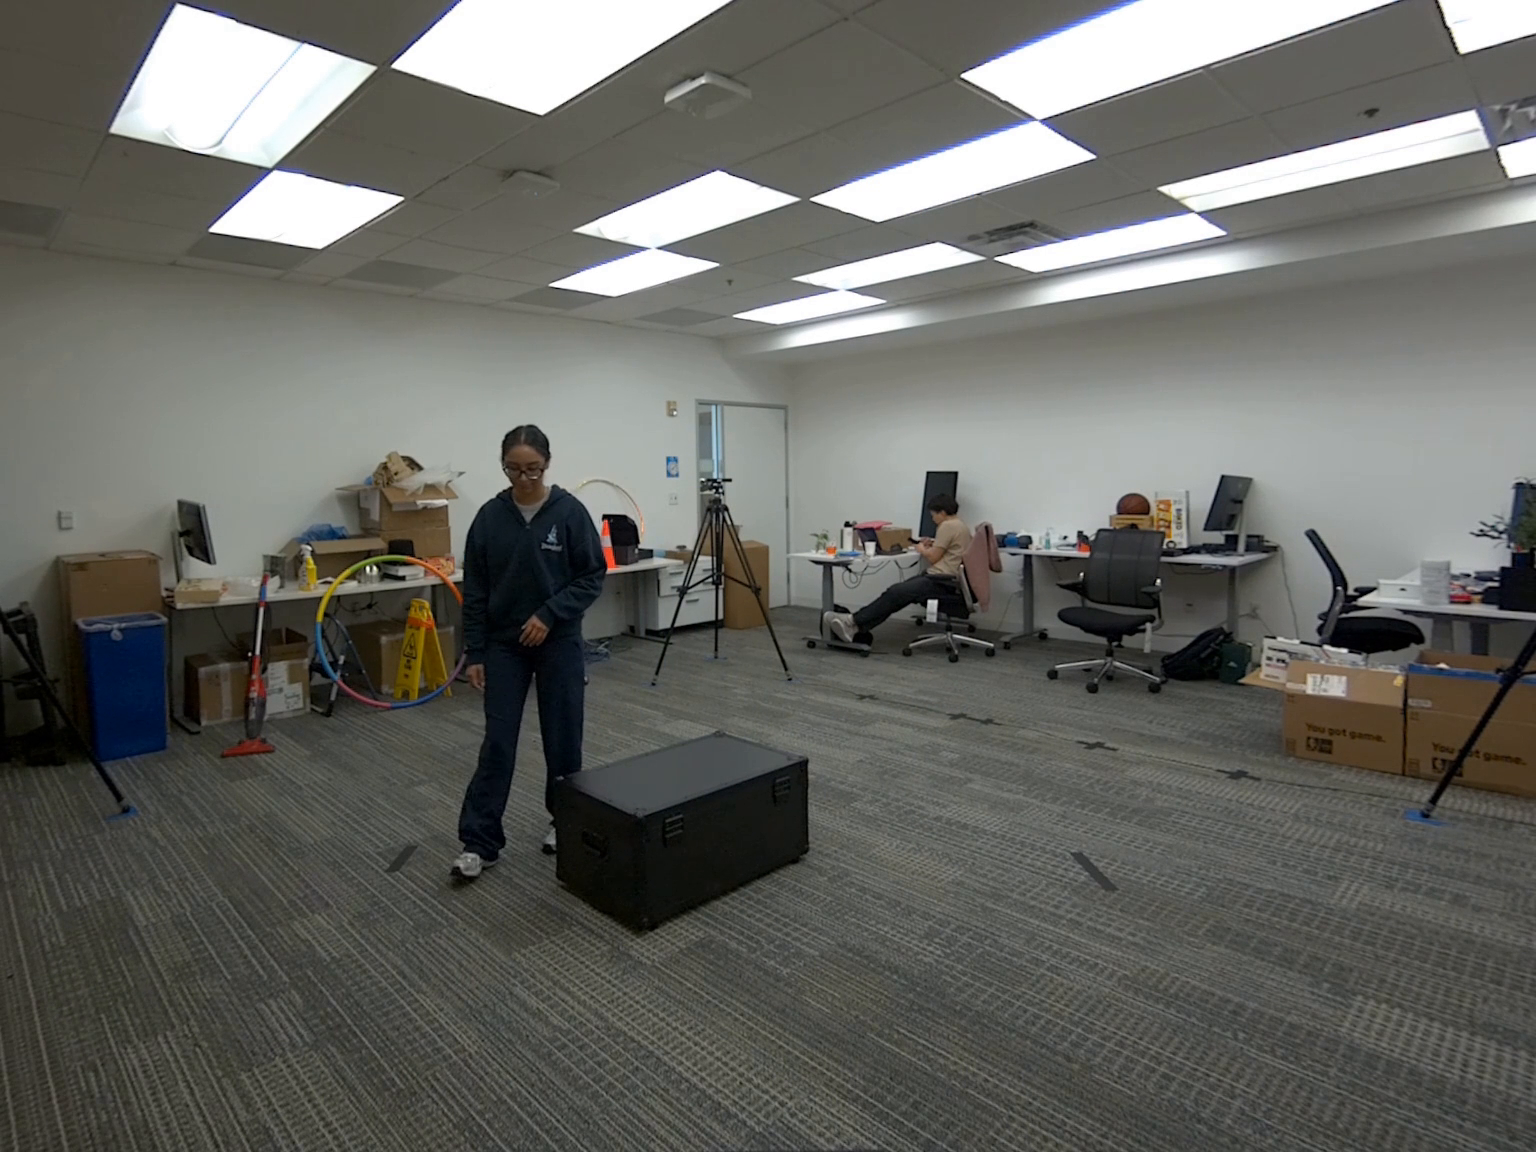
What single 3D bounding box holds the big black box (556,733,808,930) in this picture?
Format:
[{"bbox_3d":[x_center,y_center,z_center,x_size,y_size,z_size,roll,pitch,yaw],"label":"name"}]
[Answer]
[{"bbox_3d":[-0.268,0.863,3.057,0.839,0.394,0.537,-8,9,-44],"label":"big black box"}]
